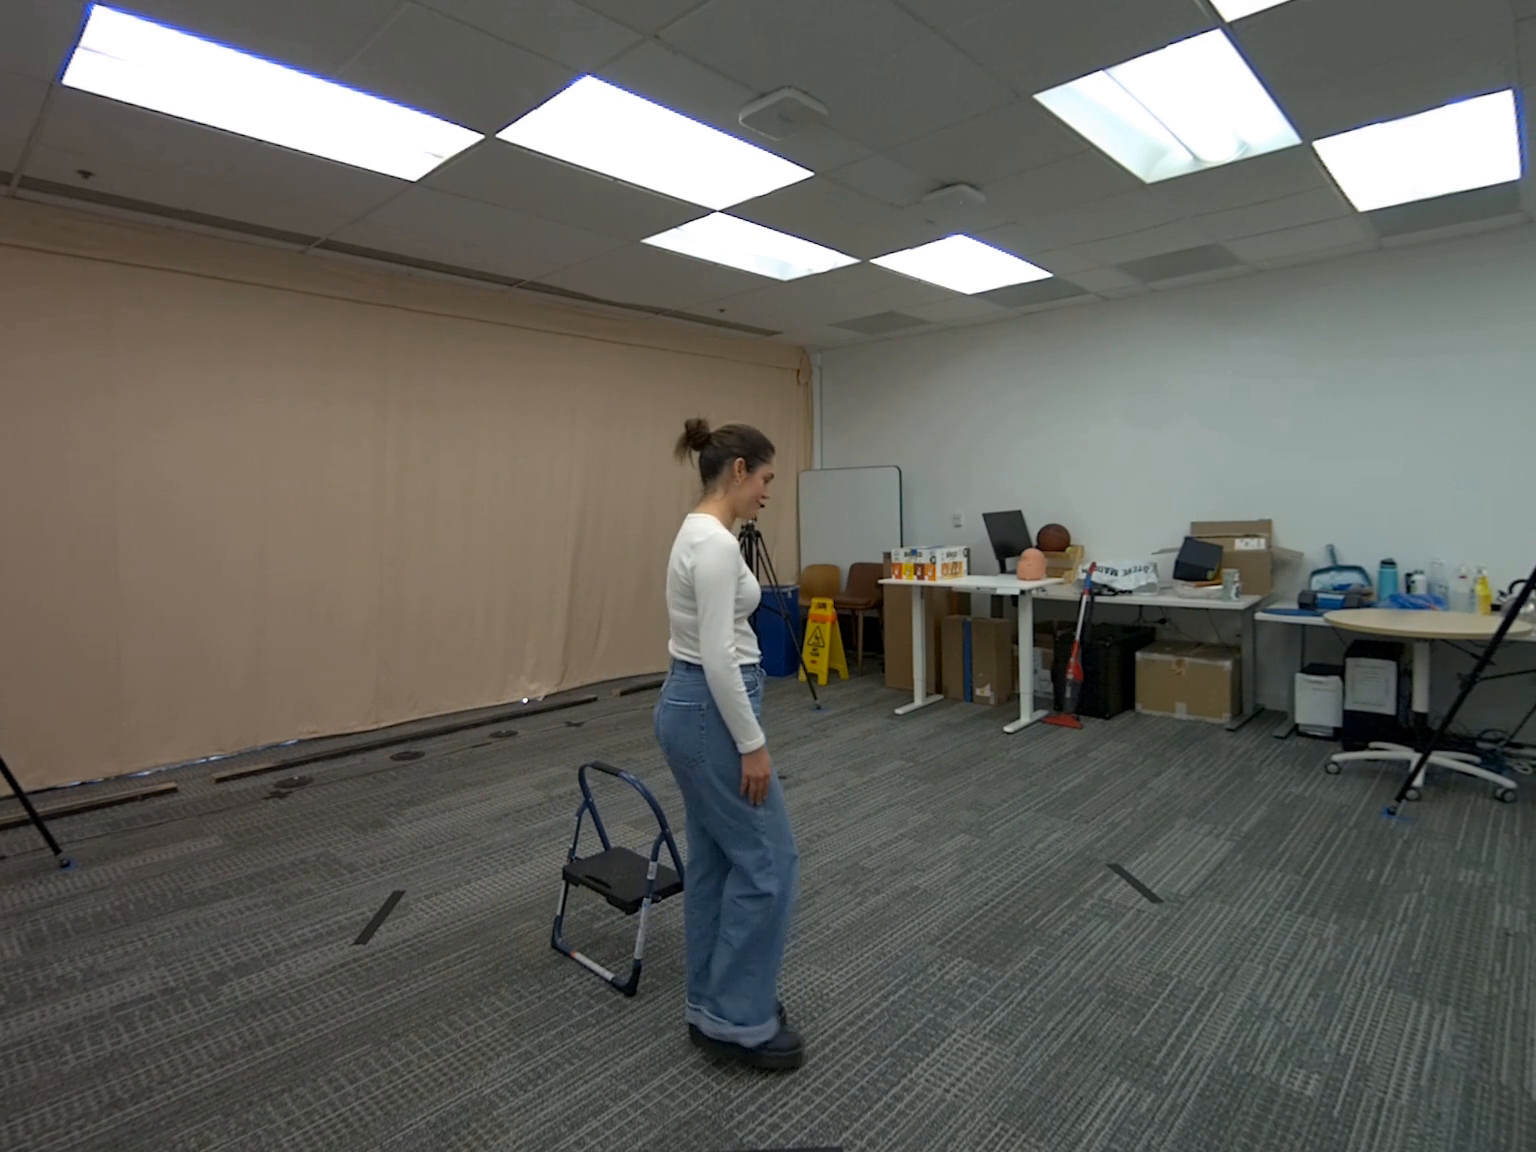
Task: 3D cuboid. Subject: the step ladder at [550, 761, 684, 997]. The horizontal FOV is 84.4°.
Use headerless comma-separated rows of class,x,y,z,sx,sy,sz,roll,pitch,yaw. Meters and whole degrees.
step ladder,-0.430,0.876,2.635,0.445,0.605,0.339,2,4,43
